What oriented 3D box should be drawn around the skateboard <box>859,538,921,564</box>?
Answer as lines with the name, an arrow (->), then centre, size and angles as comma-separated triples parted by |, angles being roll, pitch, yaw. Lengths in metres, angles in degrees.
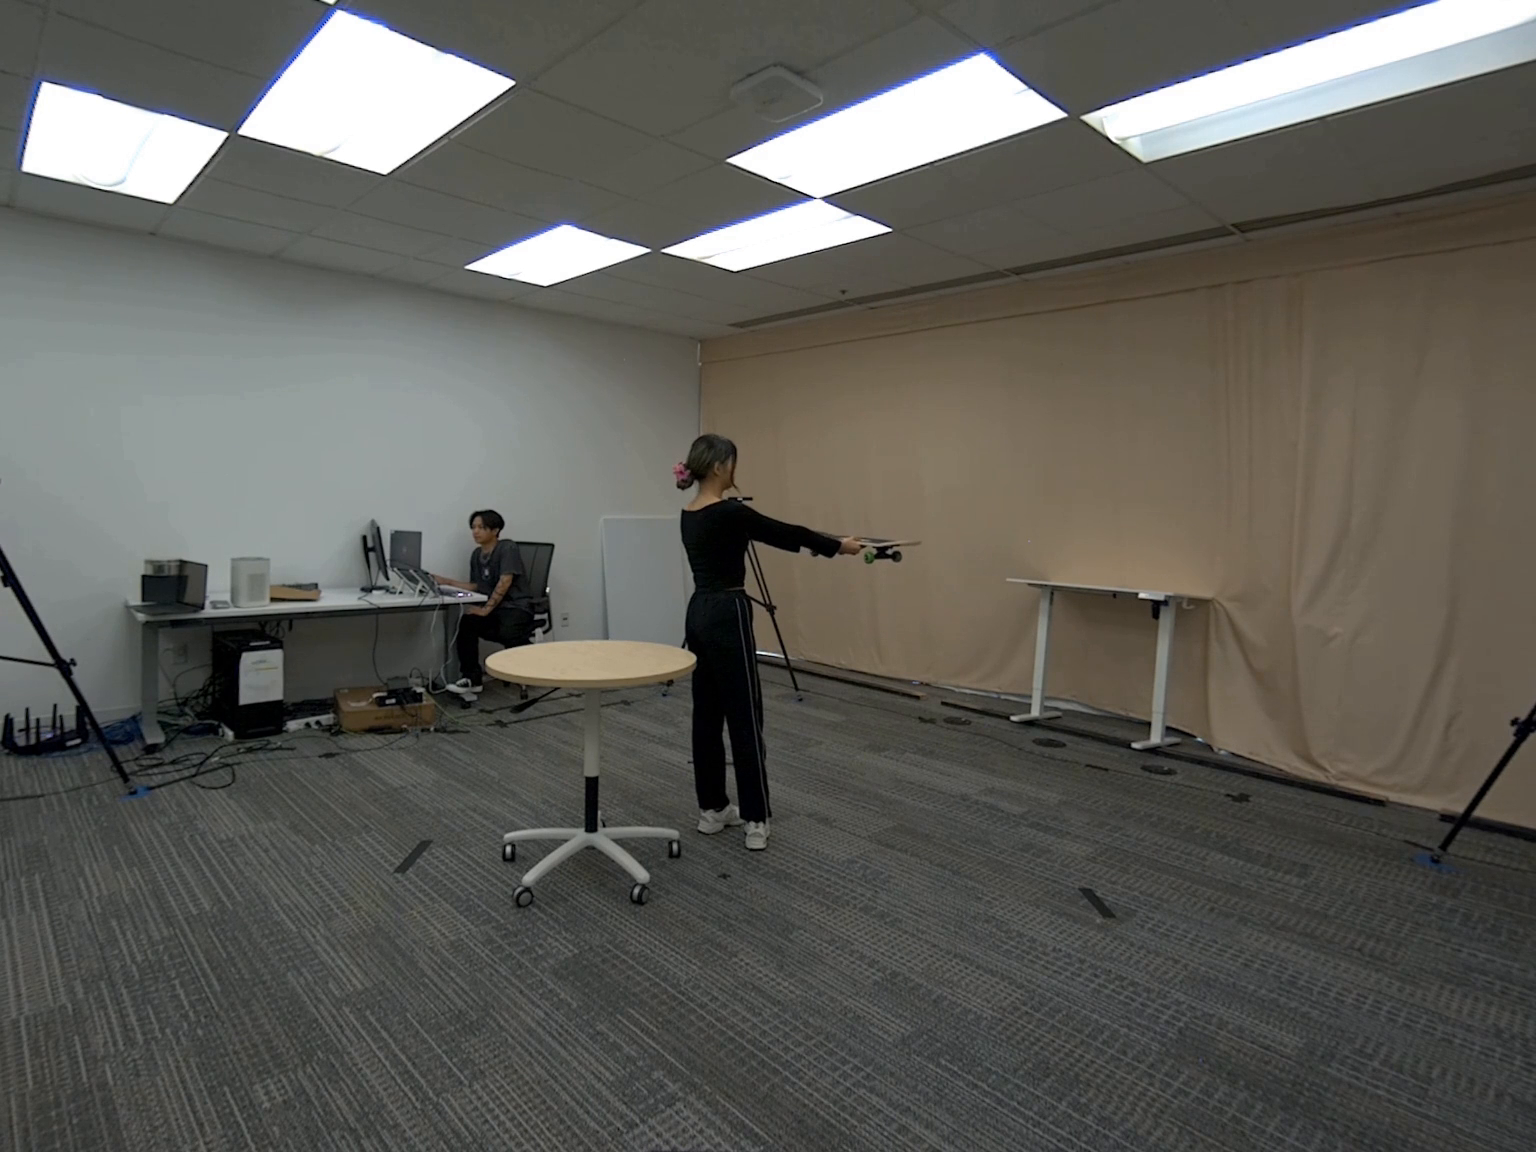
skateboard -> 0.381, -0.132, 3.799 | 0.189, 0.110, 0.804 | -2, 6, -31
